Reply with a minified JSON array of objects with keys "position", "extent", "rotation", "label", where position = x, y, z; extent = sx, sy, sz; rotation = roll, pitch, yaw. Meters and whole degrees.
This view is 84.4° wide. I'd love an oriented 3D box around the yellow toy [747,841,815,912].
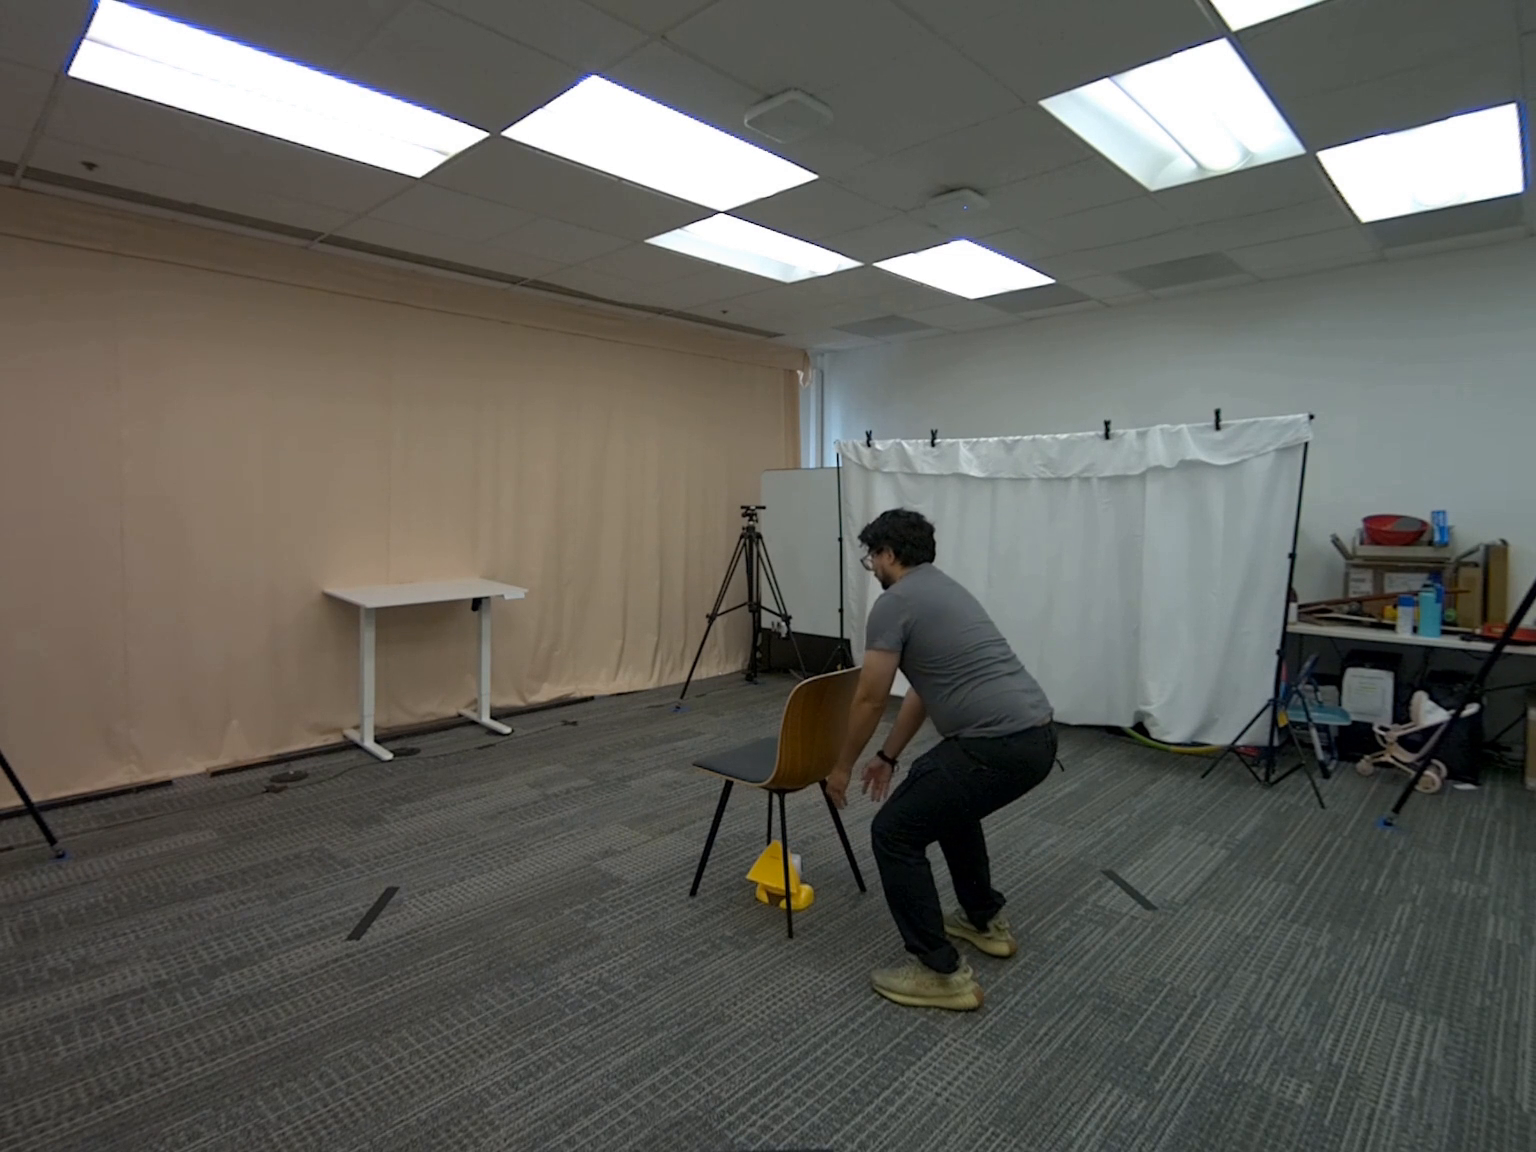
[{"position":[0.061,1.029,2.978],"extent":[0.211,0.230,0.188],"rotation":[3,5,34],"label":"yellow toy"}]
